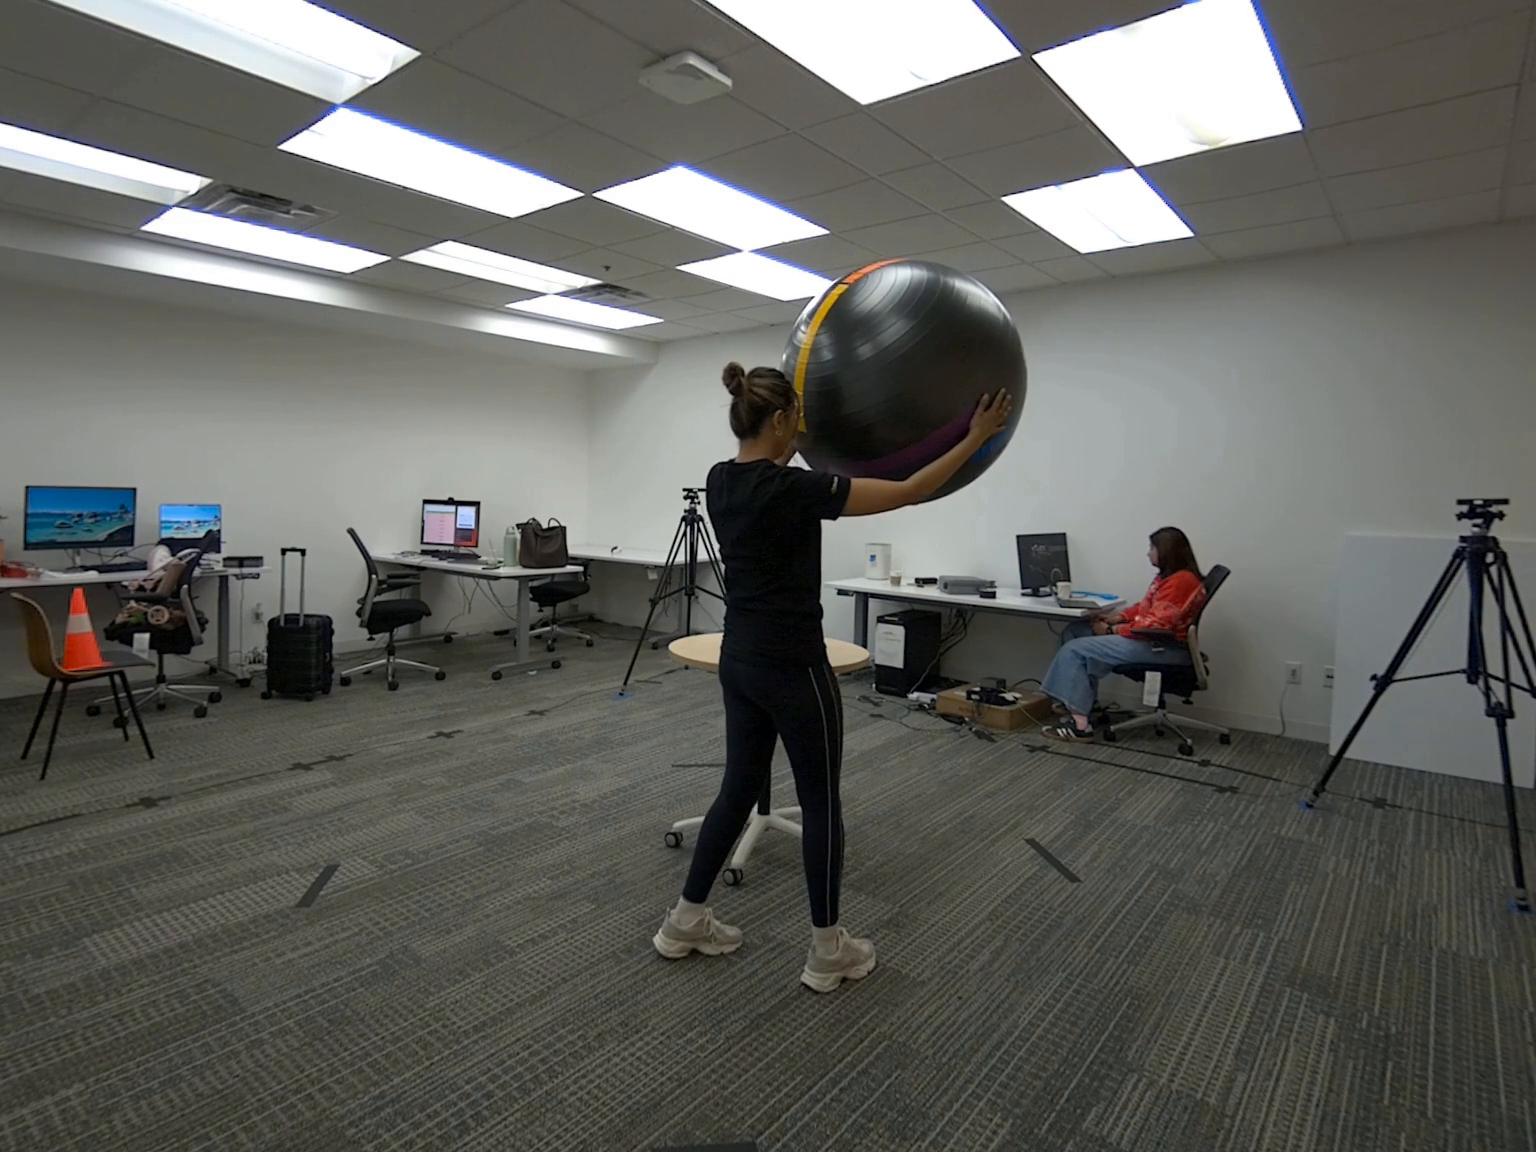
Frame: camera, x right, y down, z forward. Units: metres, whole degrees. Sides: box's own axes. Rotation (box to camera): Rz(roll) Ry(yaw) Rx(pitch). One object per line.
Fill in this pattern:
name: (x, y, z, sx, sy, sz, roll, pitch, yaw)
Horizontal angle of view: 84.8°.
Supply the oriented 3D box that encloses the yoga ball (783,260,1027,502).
yoga ball: (0.410, -0.596, 2.672, 0.757, 0.756, 0.762, 1, 4, -2)
